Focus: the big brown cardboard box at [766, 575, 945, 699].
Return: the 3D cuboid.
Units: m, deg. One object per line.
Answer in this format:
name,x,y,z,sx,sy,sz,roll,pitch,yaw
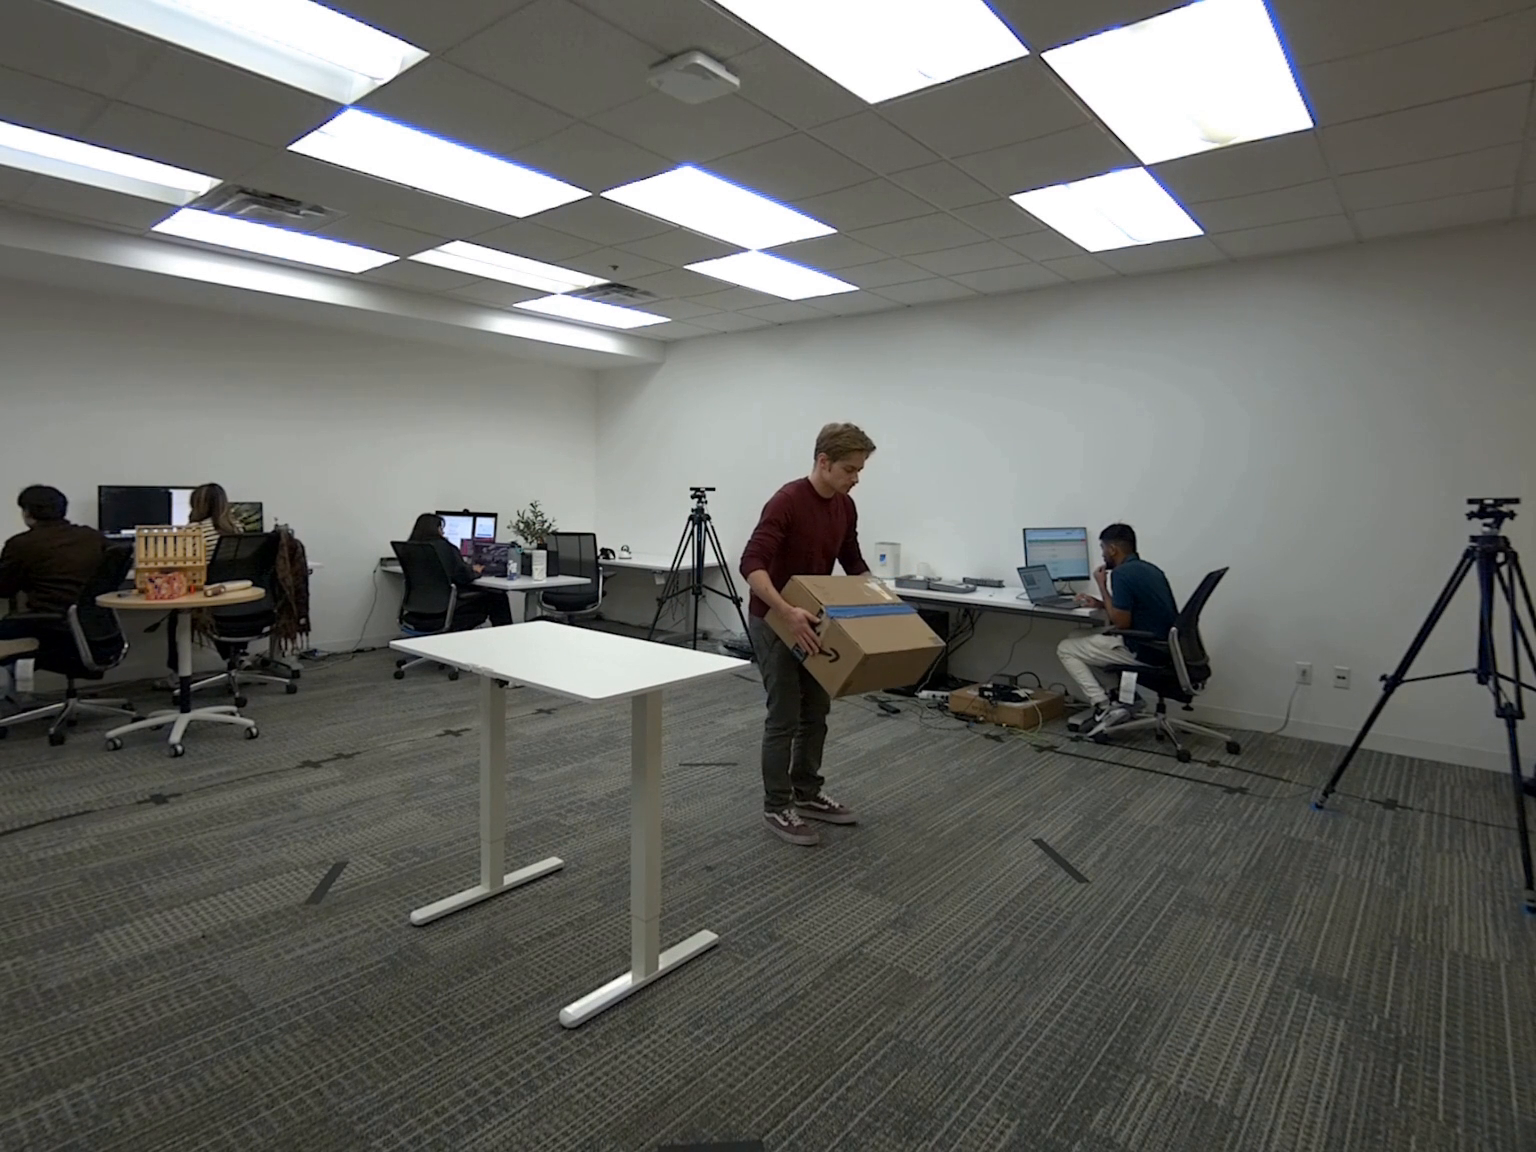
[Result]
big brown cardboard box,0.341,0.208,3.222,0.570,0.231,0.434,-1,38,-47
